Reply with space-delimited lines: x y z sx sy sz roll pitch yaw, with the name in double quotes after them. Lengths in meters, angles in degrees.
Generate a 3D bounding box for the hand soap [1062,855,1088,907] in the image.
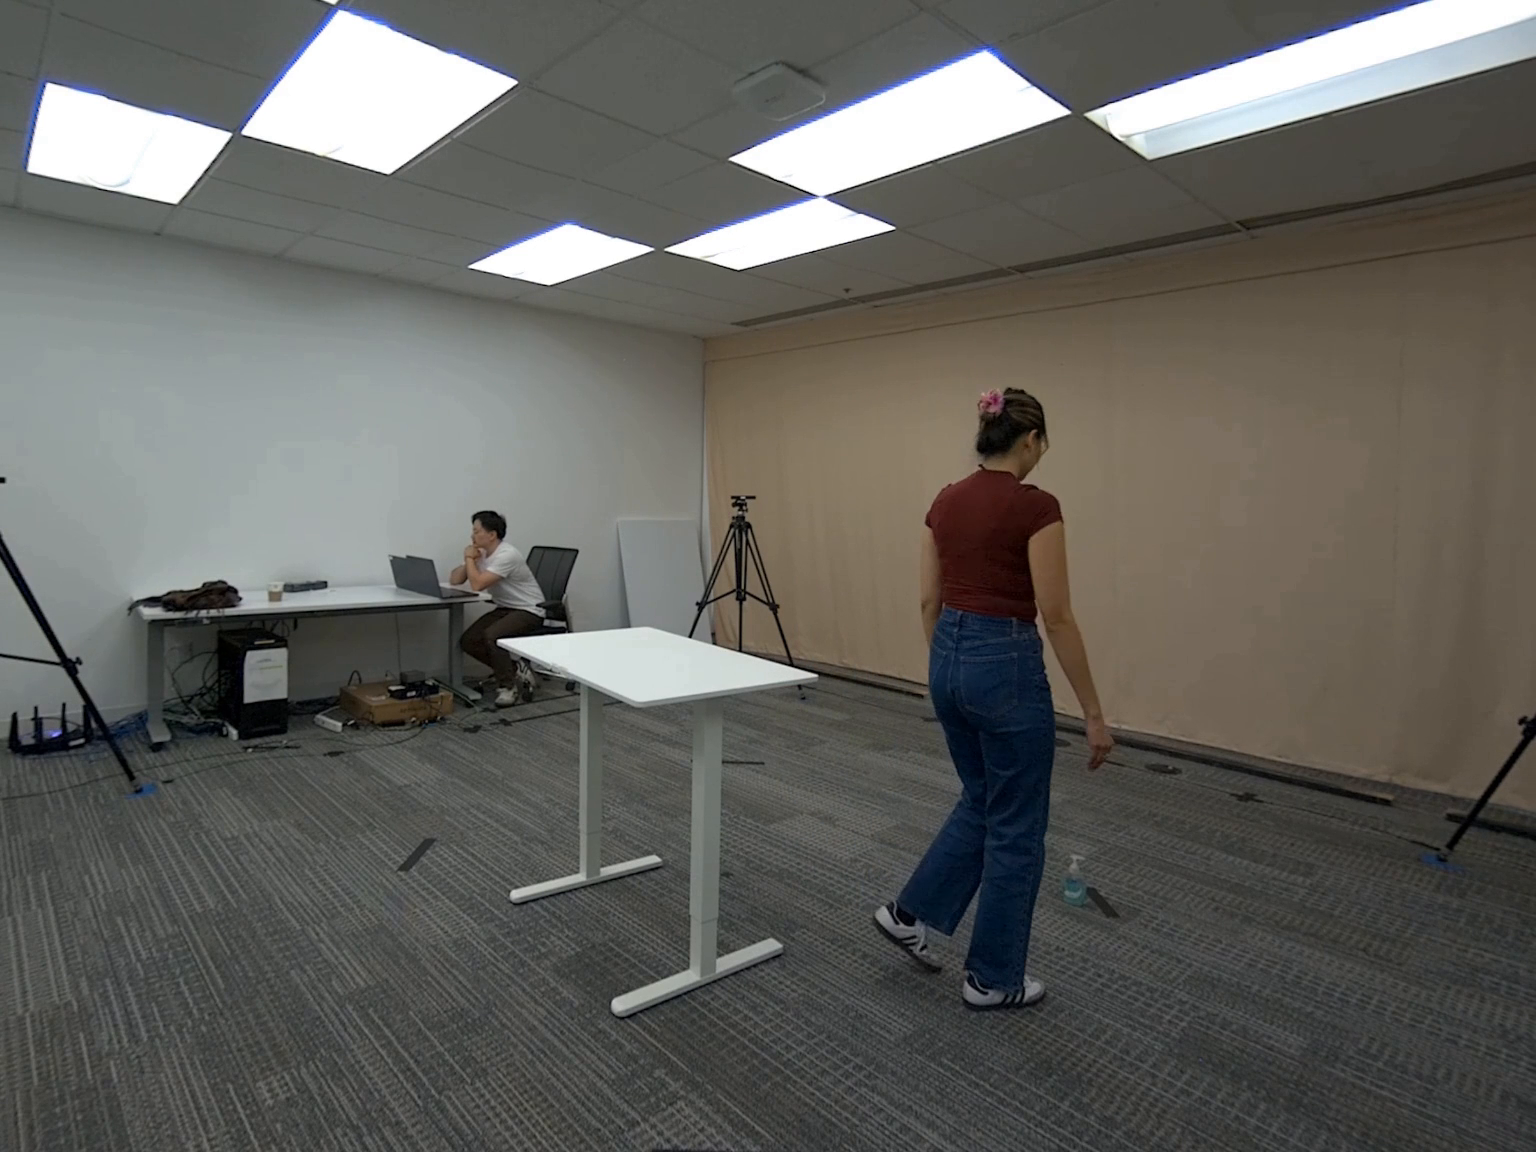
1.069 1.068 2.954 0.086 0.168 0.042 2 -1 26 "hand soap"
